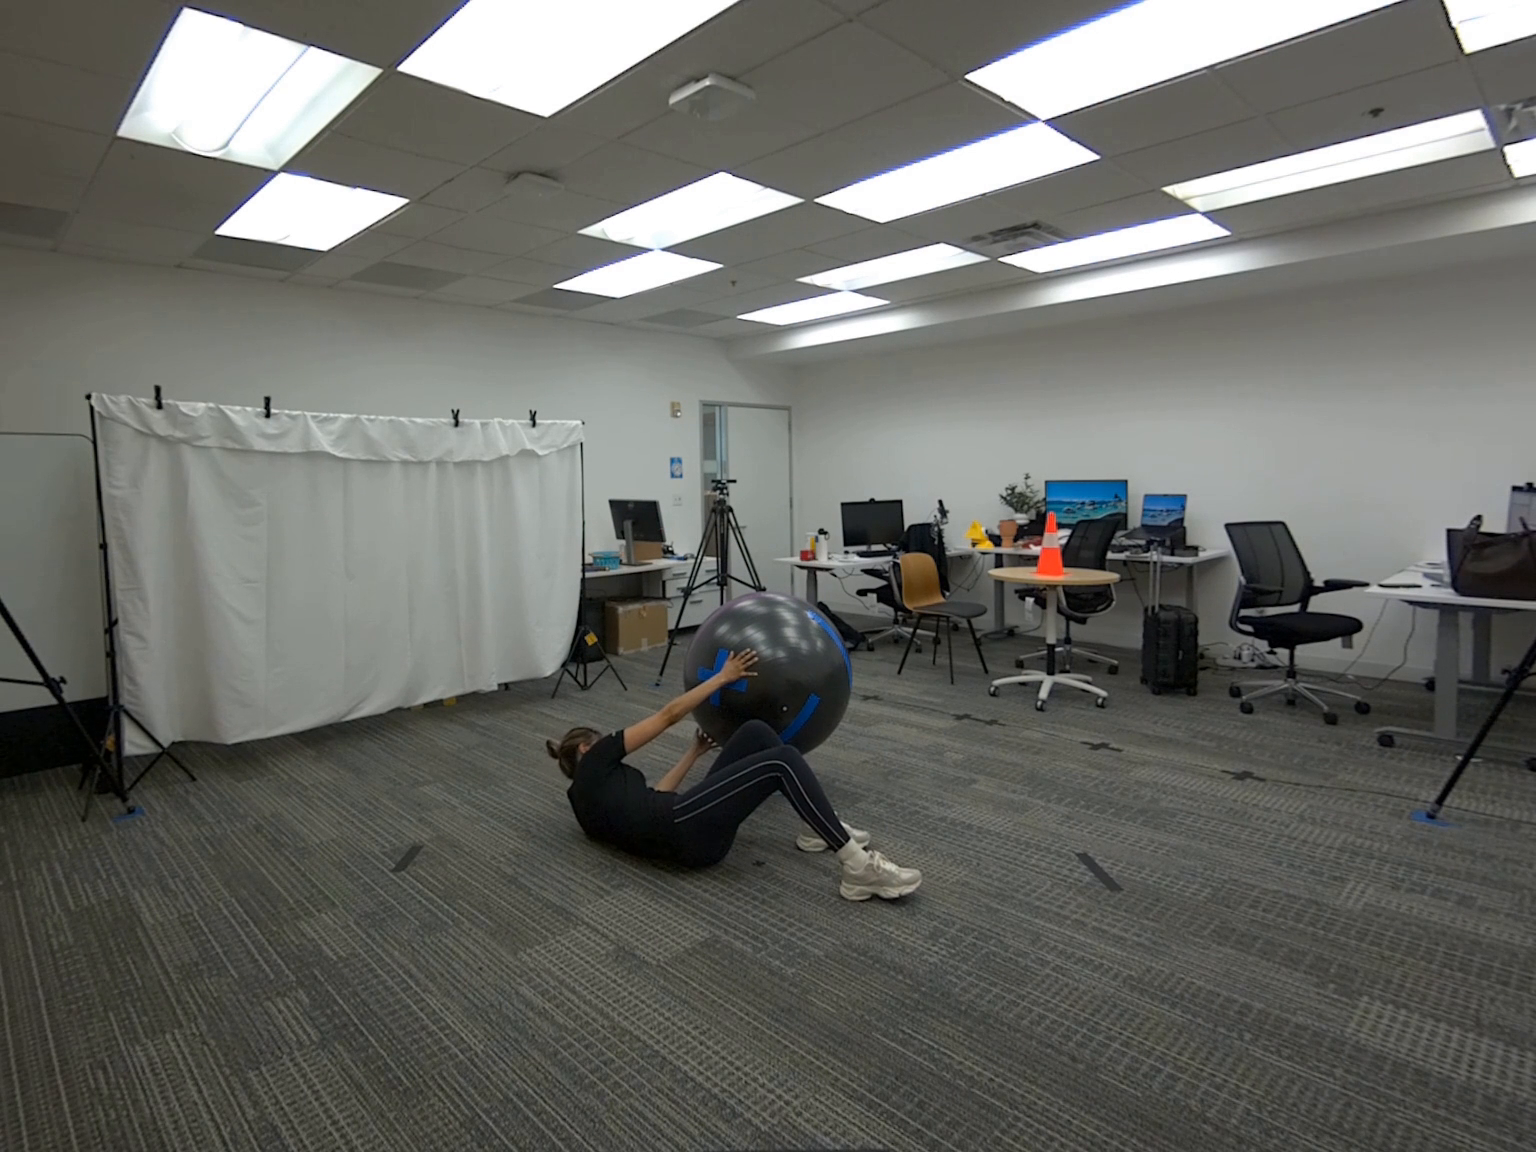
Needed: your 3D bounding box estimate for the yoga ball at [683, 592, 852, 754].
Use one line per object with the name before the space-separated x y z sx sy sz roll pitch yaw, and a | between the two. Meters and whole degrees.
yoga ball | -0.005 0.456 3.857 0.757 0.755 0.762 -1 5 -2
